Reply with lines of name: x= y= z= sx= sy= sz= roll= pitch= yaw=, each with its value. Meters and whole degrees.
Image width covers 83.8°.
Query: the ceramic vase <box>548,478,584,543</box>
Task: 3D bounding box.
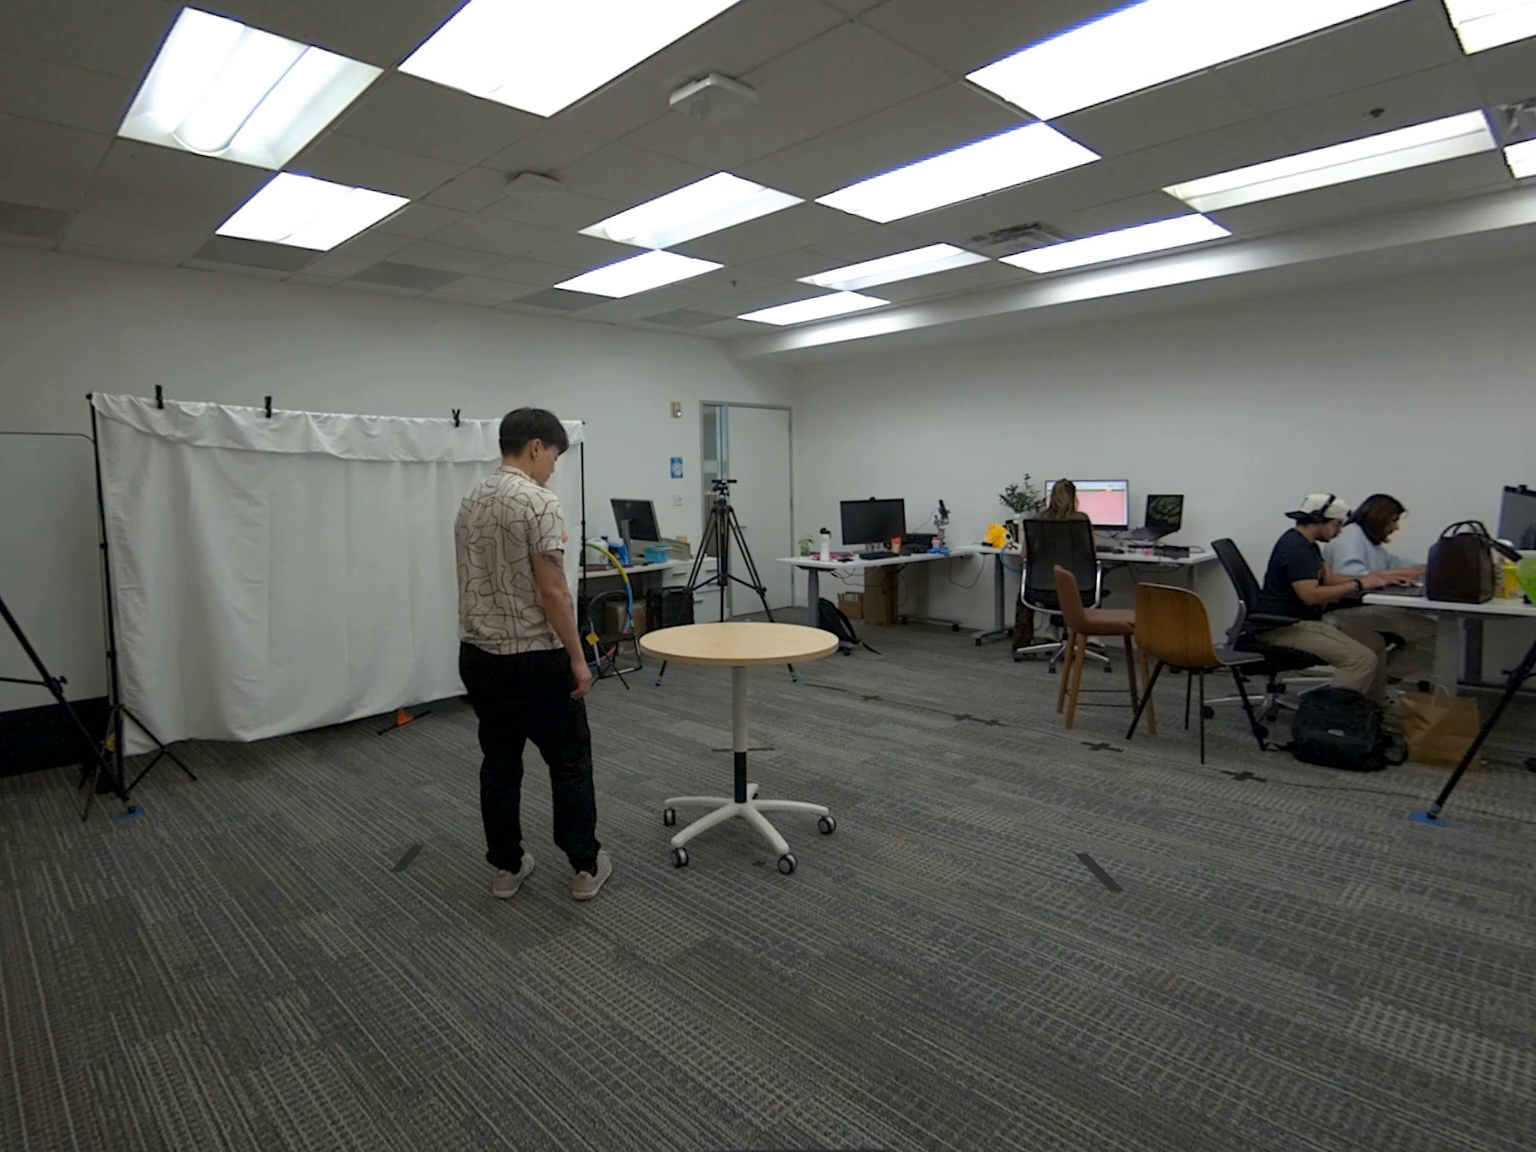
ceramic vase: x=-0.833 y=-0.220 z=3.197 sx=0.137 sy=0.216 sz=0.158 roll=-16 pitch=17 yaw=34
